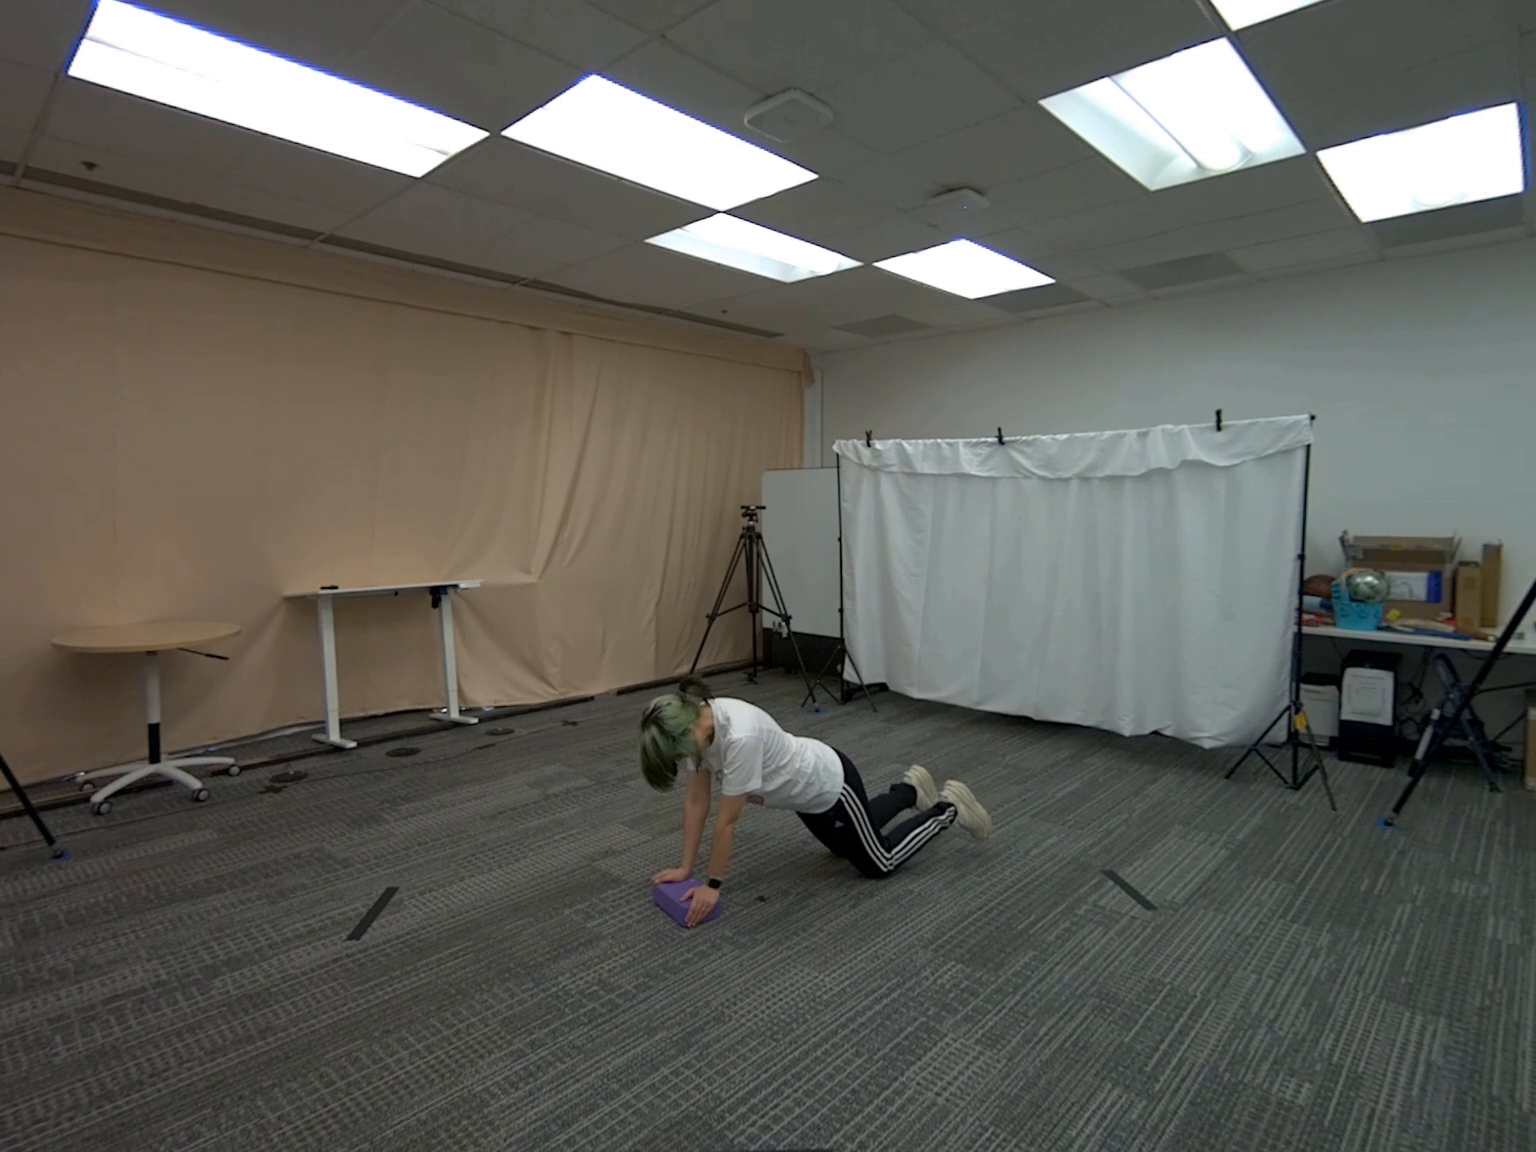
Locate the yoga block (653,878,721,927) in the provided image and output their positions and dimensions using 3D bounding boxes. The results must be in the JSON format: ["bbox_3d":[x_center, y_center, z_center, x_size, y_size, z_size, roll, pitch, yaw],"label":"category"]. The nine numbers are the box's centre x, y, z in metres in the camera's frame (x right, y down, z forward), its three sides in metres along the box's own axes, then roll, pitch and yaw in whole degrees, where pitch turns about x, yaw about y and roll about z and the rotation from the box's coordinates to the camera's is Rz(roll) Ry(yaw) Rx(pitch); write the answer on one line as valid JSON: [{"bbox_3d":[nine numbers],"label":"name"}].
[{"bbox_3d":[-0.277,1.113,2.901,0.145,0.076,0.237,-4,7,-35],"label":"yoga block"}]
